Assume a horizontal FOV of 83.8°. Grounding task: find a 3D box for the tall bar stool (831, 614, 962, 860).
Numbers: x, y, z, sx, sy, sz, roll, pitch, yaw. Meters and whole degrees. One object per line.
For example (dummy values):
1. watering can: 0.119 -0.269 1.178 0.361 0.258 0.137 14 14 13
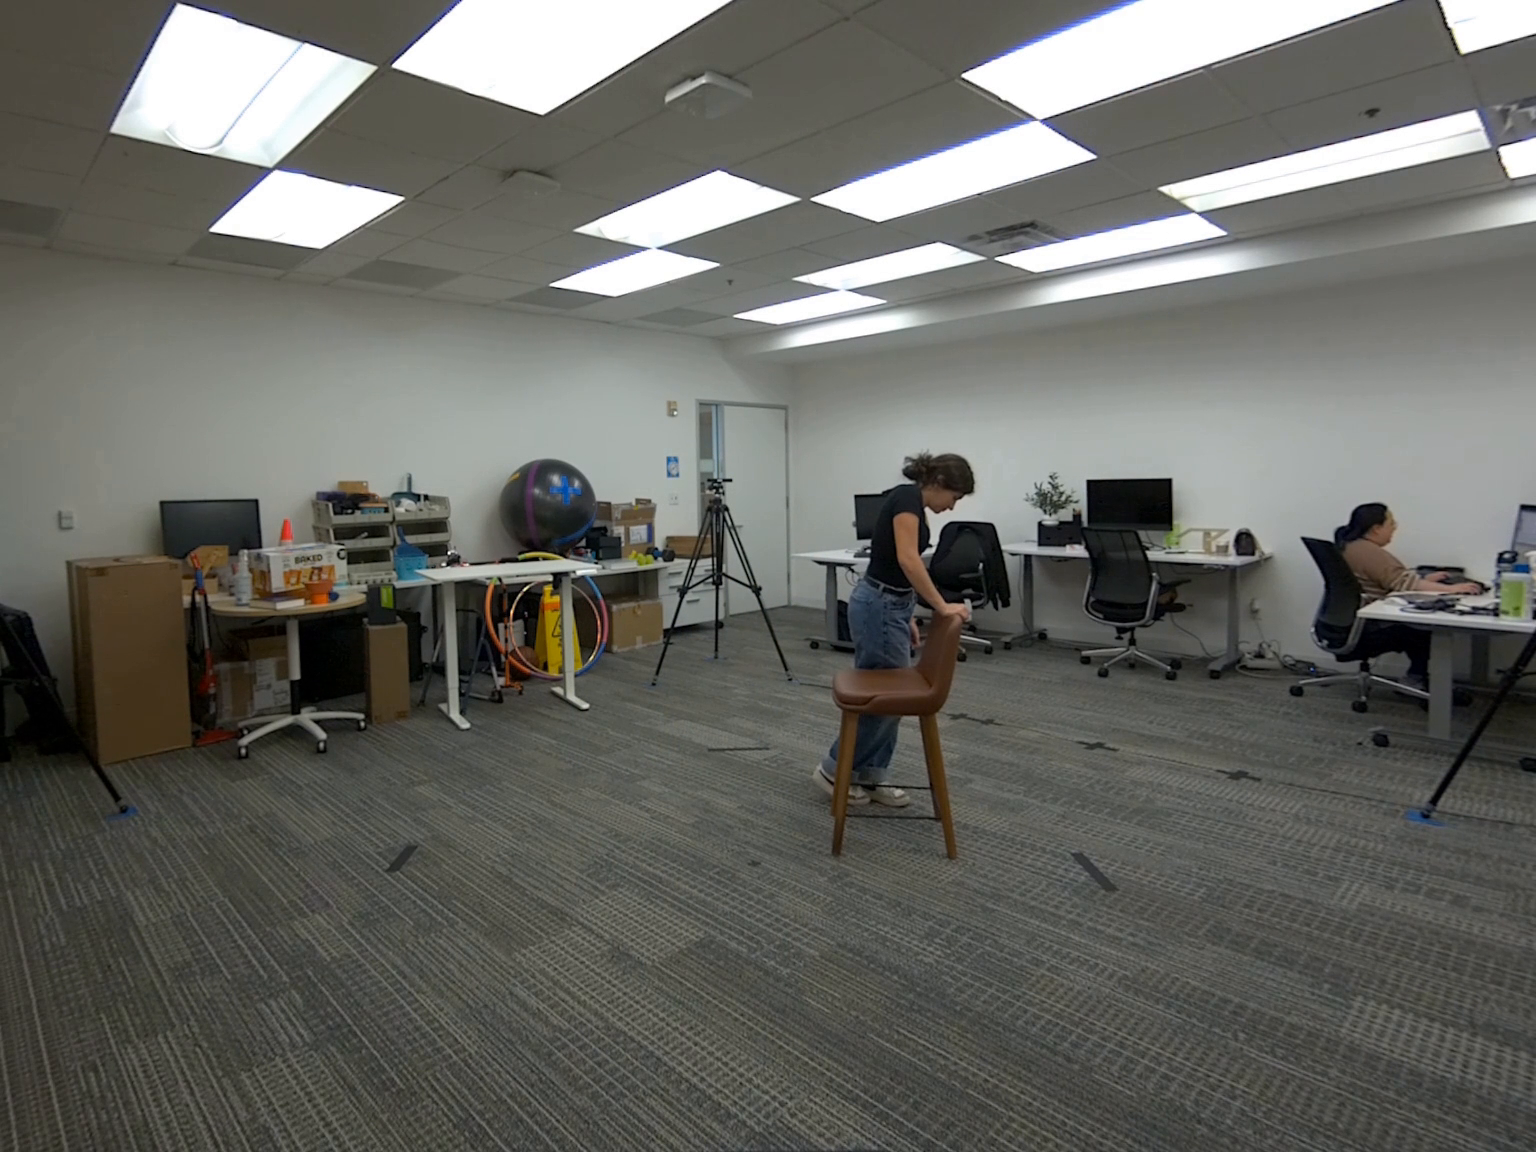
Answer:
1. tall bar stool: 0.483 0.579 3.297 0.471 0.887 0.455 2 4 5
